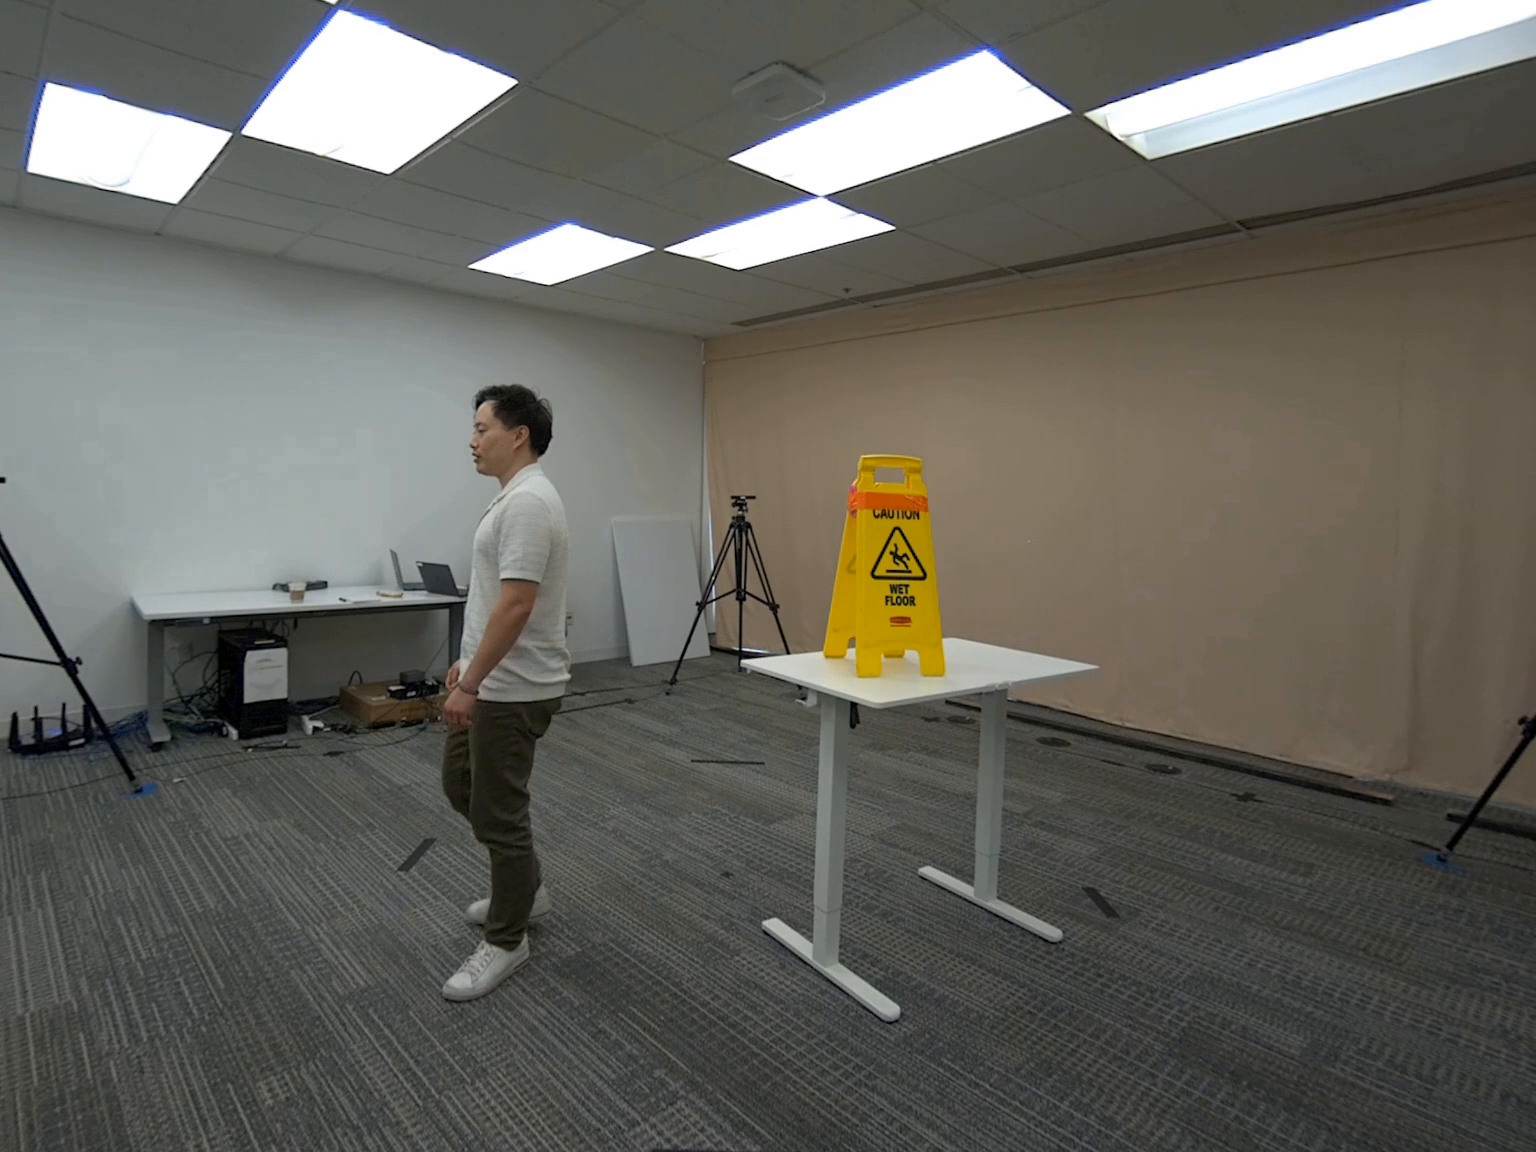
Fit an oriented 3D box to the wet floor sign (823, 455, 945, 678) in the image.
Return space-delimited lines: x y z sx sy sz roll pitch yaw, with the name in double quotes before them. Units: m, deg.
"wet floor sign" 0.356 -0.040 2.570 0.279 0.645 0.293 2 3 -14
